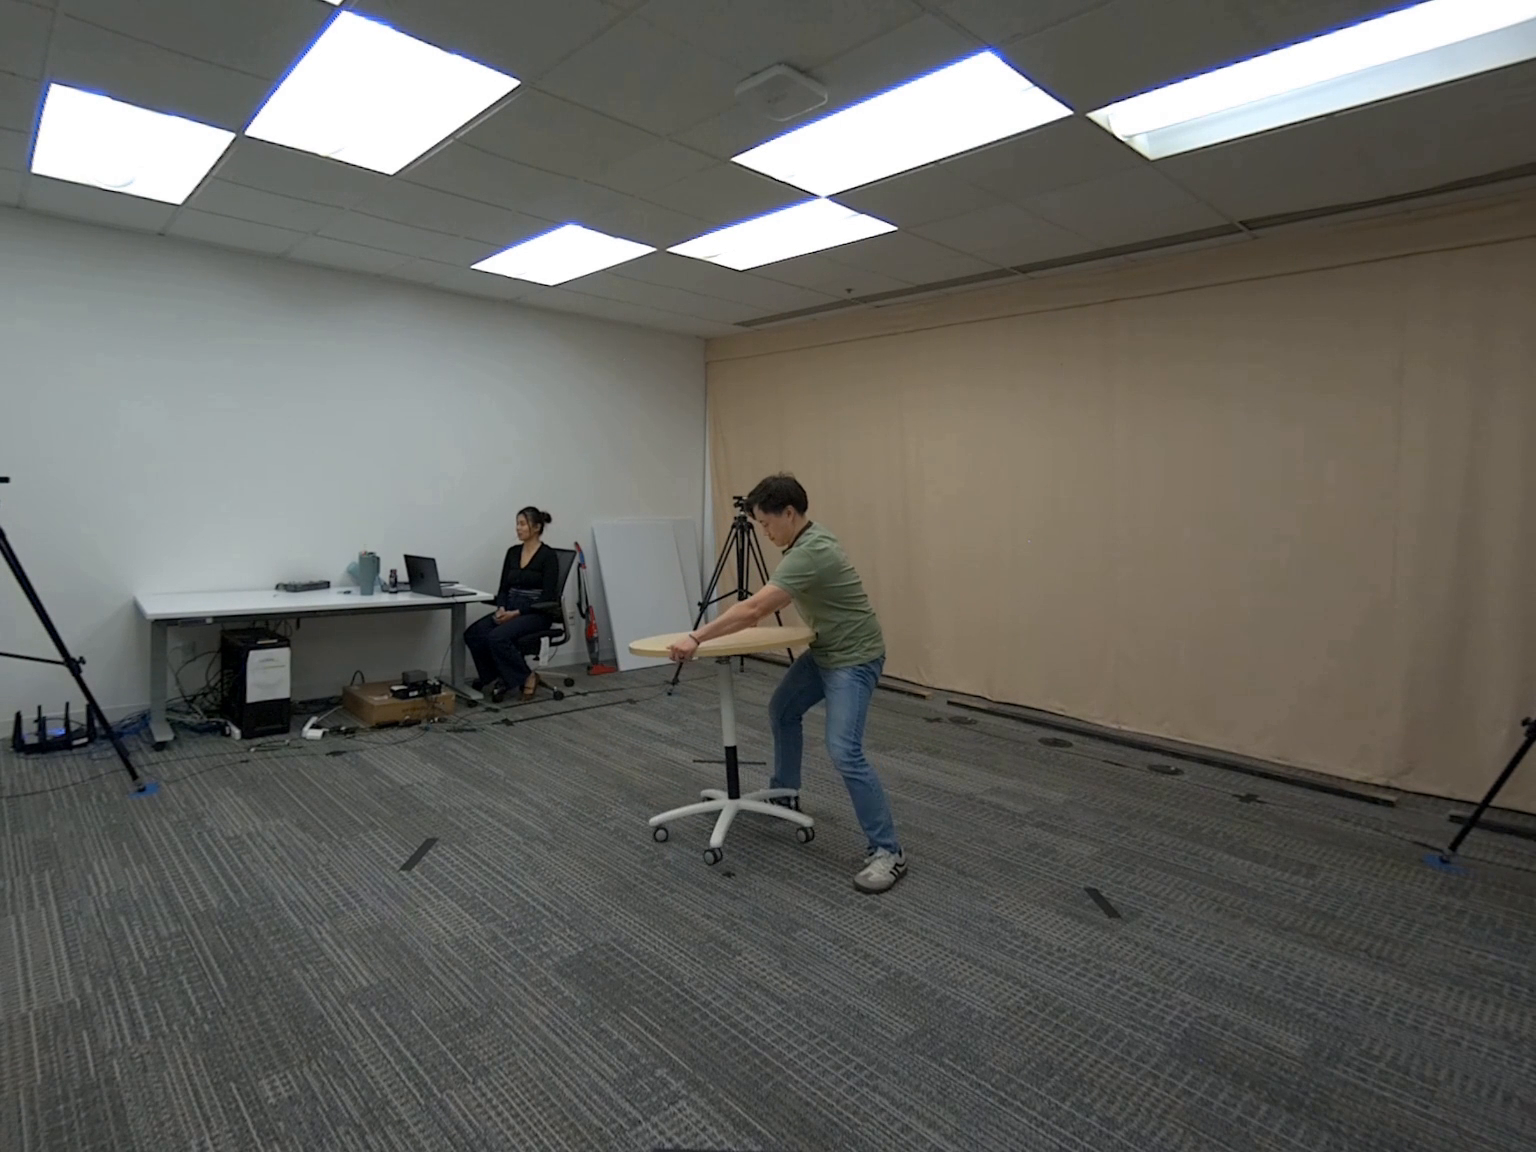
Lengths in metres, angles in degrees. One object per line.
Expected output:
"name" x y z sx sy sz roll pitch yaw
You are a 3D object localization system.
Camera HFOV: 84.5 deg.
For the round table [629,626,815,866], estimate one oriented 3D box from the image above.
"round table" -0.168 0.657 3.421 0.763 0.794 0.765 -4 1 -1
